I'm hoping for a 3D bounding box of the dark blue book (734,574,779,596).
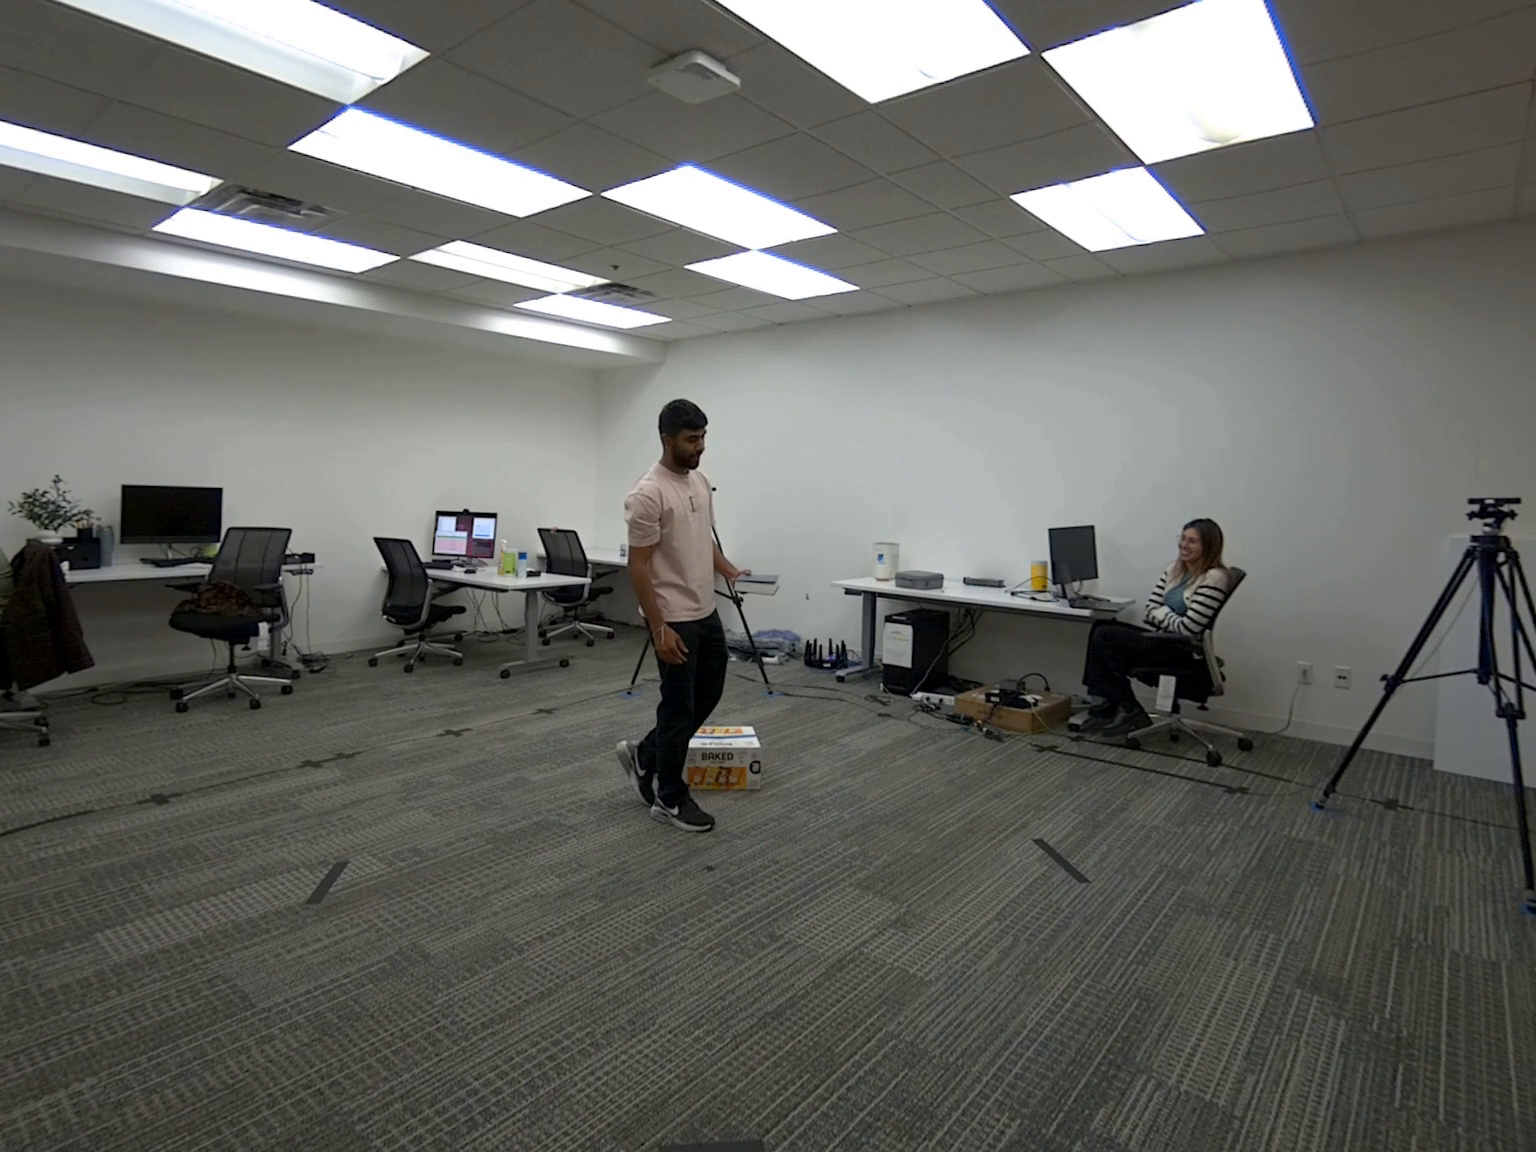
[{"bbox_3d":[-0.067,0.028,3.434,0.165,0.045,0.244,5,8,8],"label":"dark blue book"}]
